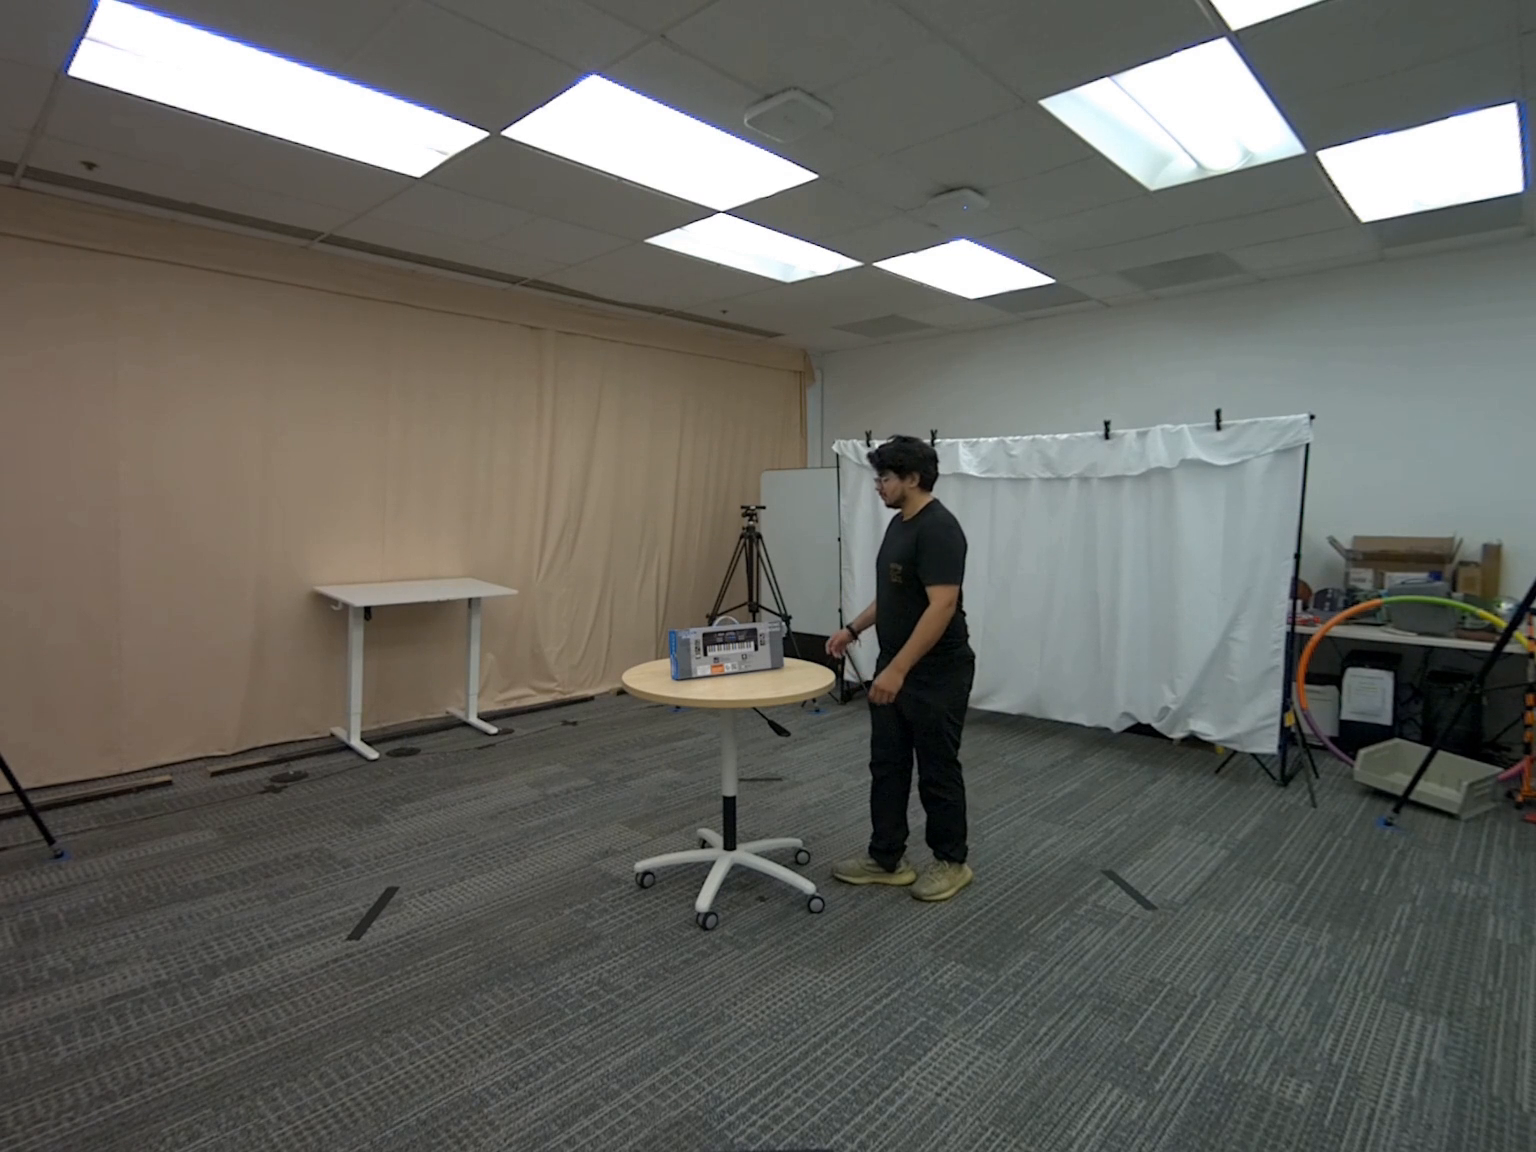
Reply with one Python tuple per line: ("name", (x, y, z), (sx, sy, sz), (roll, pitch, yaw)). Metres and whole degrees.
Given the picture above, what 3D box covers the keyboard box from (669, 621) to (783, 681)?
("keyboard box", (-0.142, 0.271, 3.060), (0.426, 0.176, 0.060), (-3, -1, -27))
